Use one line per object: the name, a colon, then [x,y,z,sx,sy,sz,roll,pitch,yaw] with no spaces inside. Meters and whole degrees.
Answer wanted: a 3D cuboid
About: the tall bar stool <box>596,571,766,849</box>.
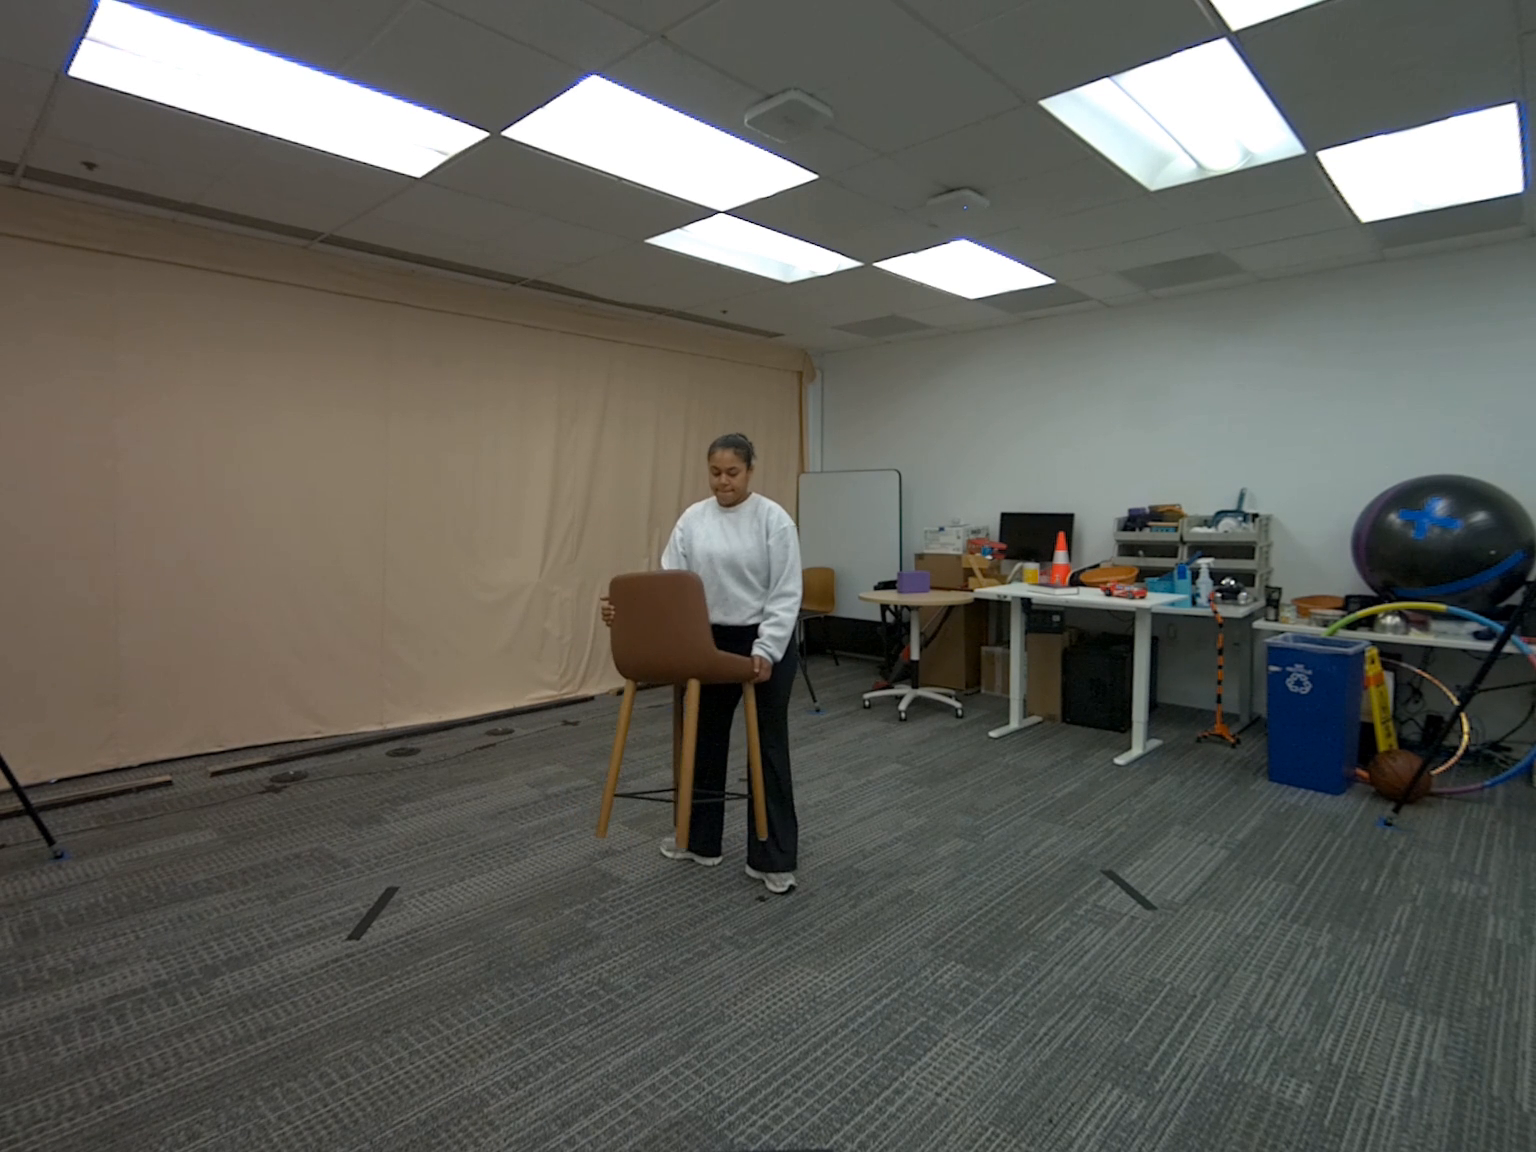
tall bar stool: [-0.281,0.459,2.925,0.469,0.895,0.451,-8,-12,36]
